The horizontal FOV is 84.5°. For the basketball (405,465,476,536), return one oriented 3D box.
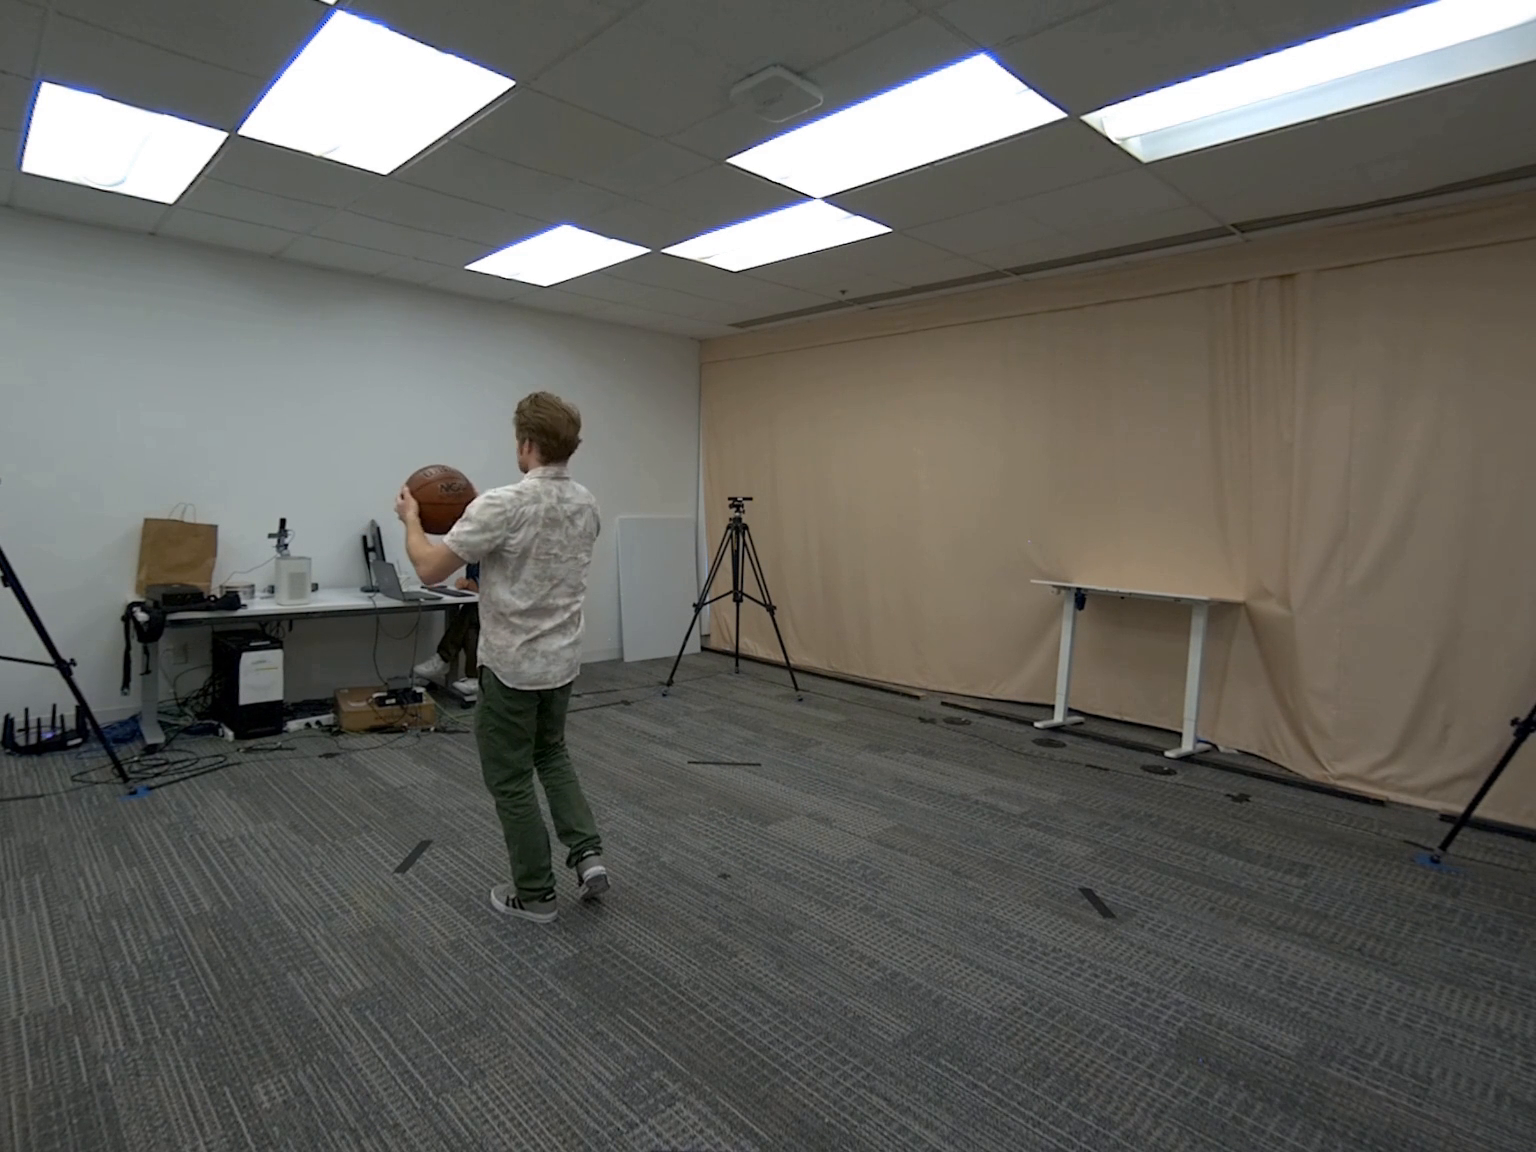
[{"bbox_3d":[-1.116,-0.253,2.853,0.236,0.235,0.237,1,4,-1],"label":"basketball"}]
